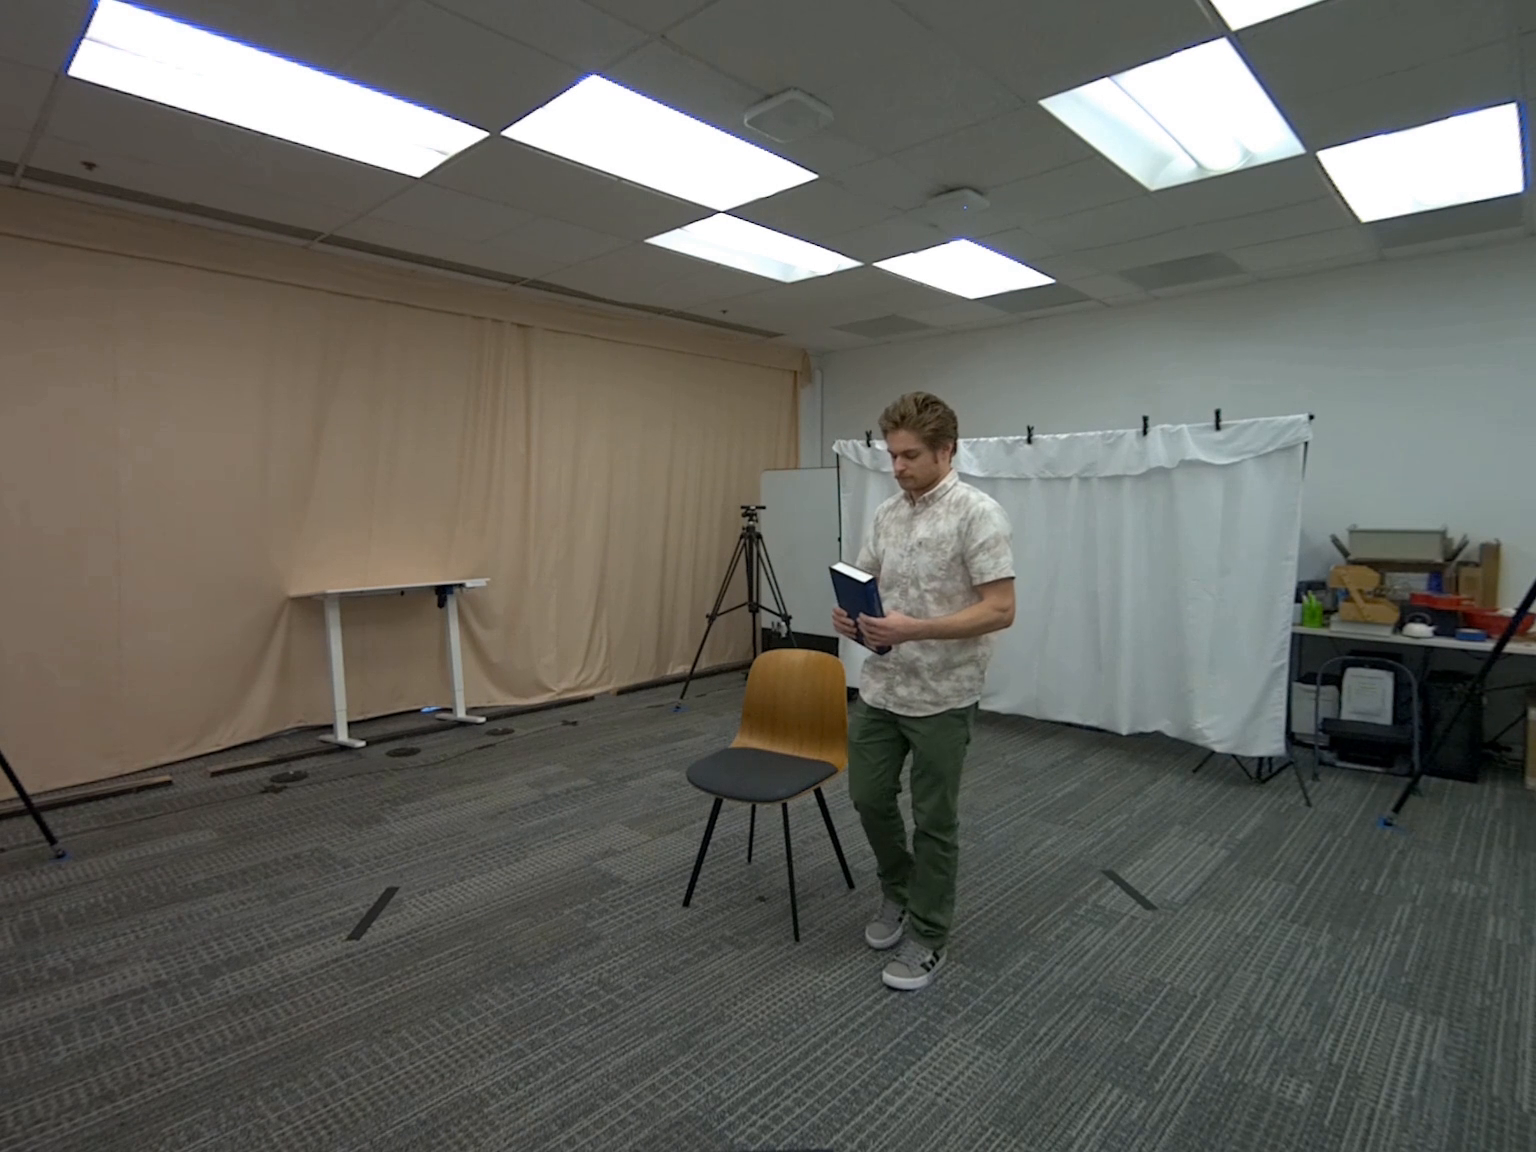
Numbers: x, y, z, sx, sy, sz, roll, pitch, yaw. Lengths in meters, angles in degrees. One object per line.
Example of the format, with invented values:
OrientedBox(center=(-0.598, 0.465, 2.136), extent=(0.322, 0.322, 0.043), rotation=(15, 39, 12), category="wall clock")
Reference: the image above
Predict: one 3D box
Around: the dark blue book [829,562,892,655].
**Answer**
OrientedBox(center=(0.262, 0.089, 2.370), extent=(0.044, 0.240, 0.169), rotation=(-30, 29, -21), category="dark blue book")
